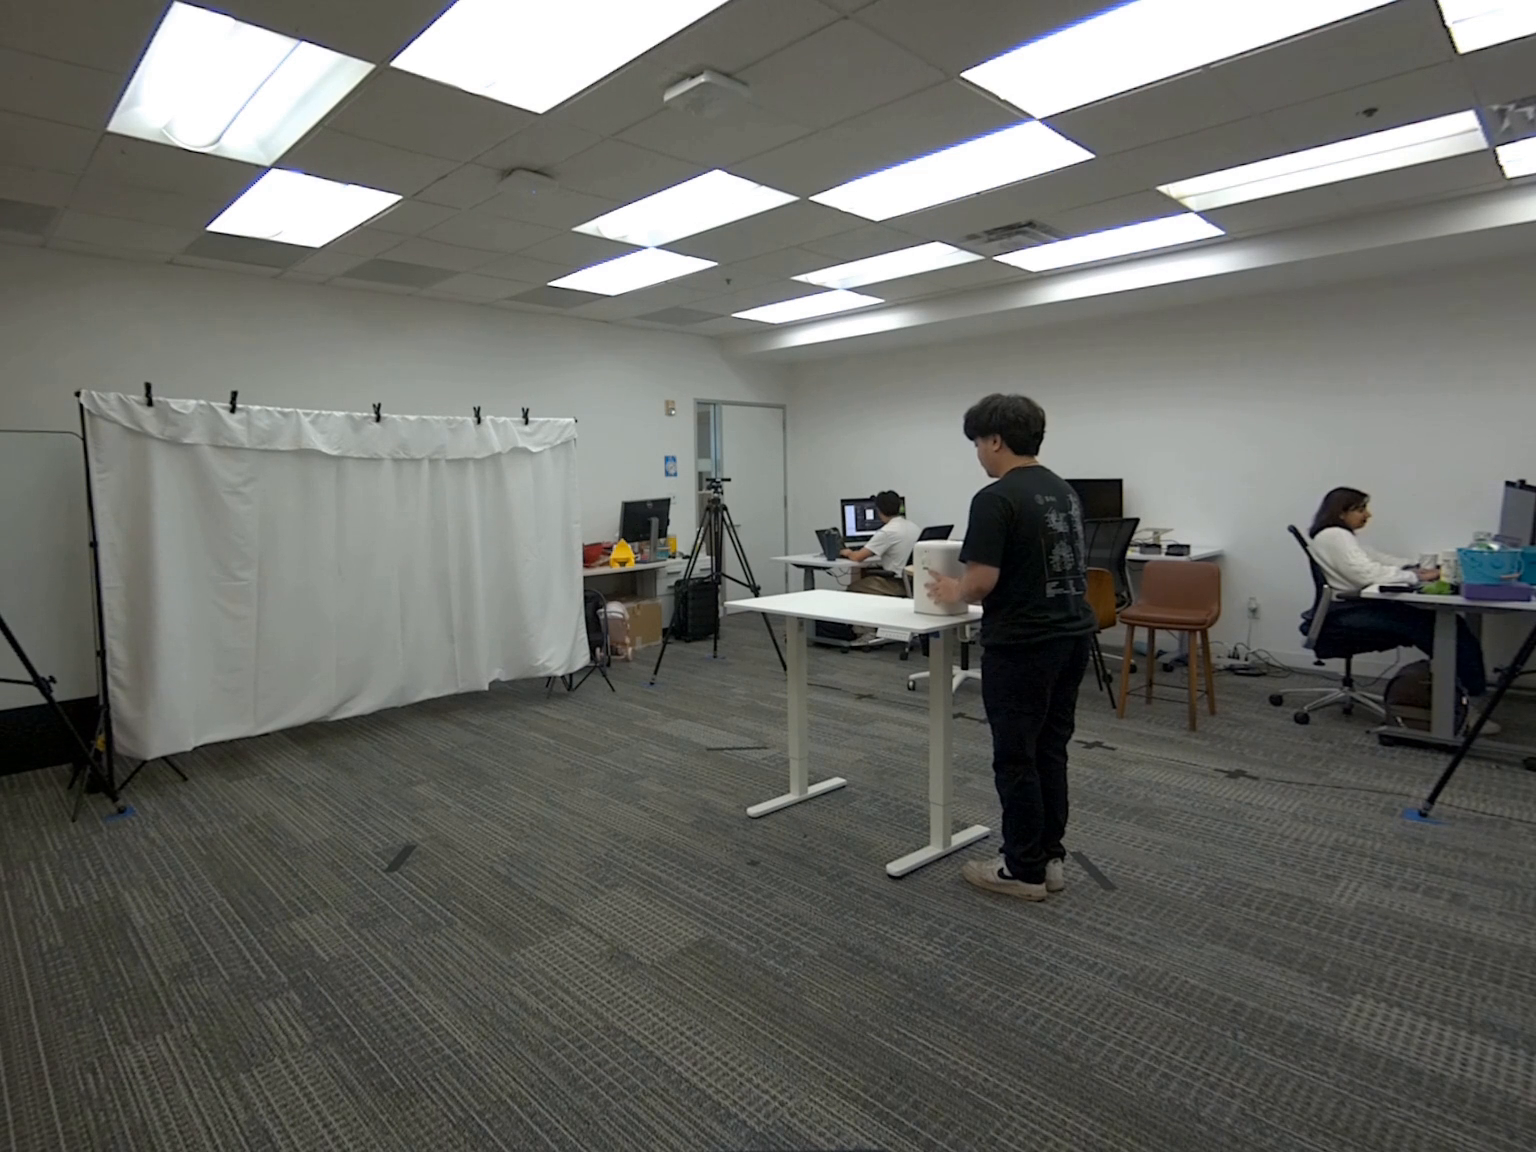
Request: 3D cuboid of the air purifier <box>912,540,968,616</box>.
[{"bbox_3d":[0.647,0.001,3.181,0.167,0.265,0.176,-4,4,-38],"label":"air purifier"}]
